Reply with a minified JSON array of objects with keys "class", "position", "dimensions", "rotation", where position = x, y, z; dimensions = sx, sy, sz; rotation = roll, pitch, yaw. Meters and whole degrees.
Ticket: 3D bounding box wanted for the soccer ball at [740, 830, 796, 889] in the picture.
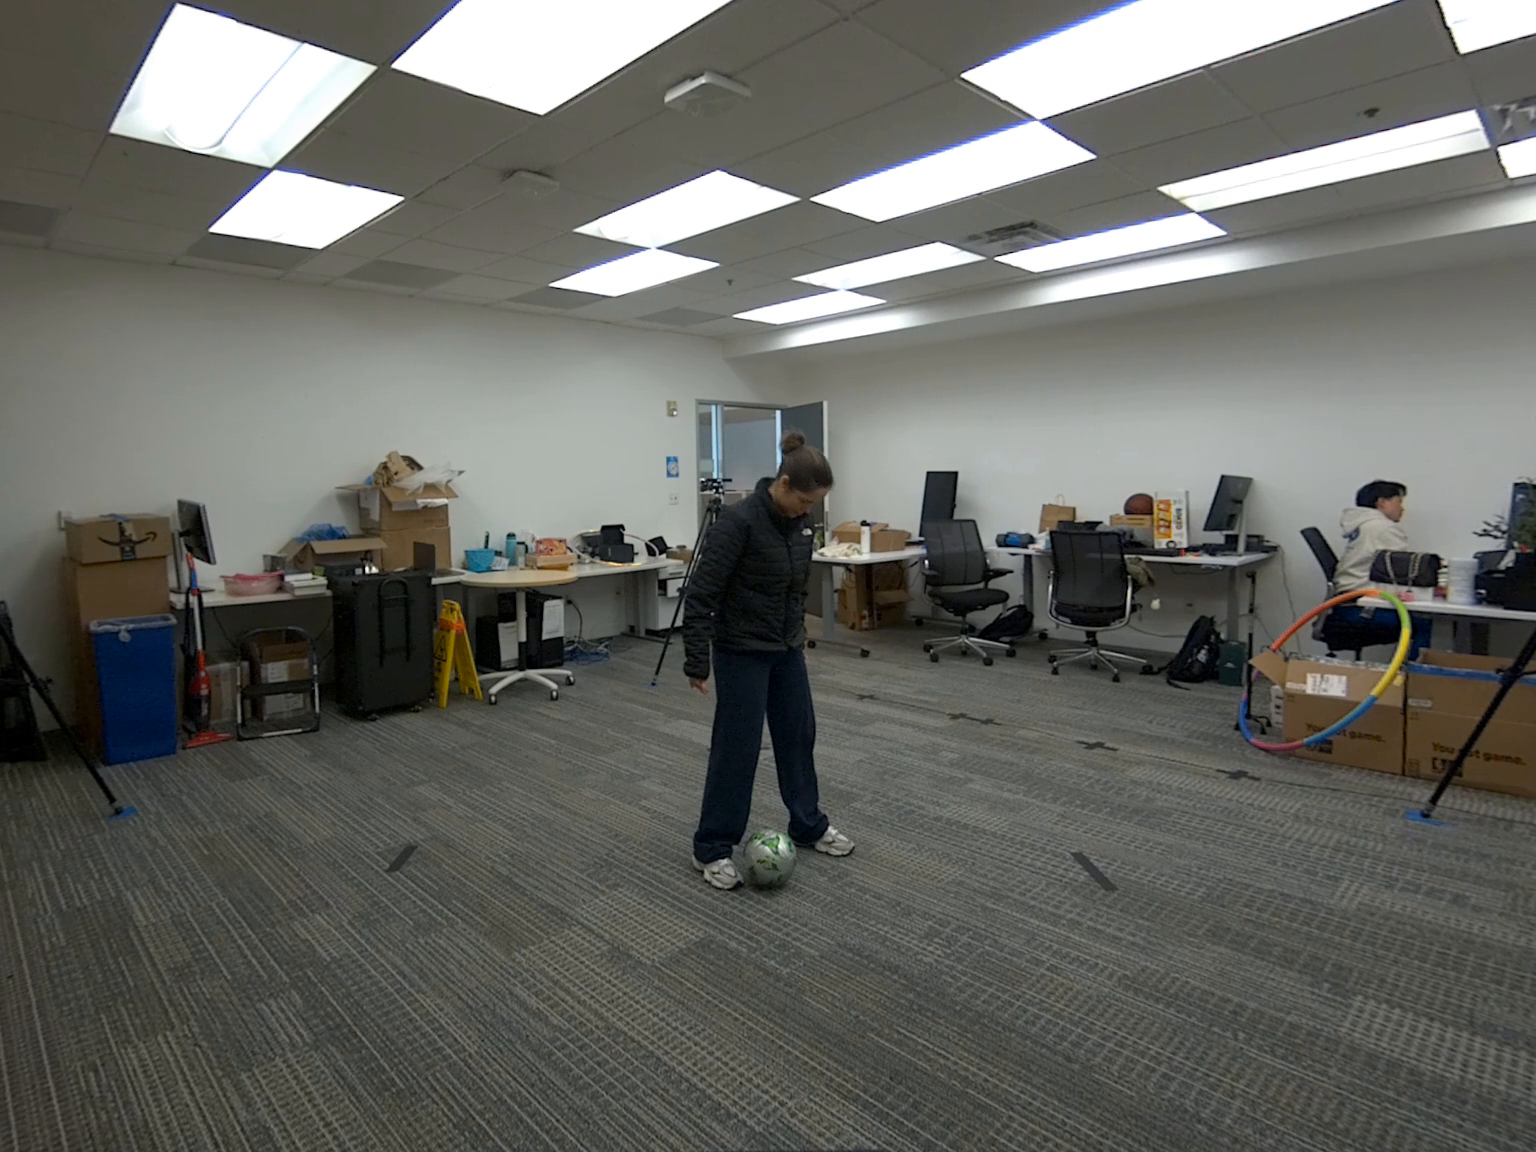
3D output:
[{"class":"soccer ball","position":[0.009,0.969,2.937],"dimensions":[0.187,0.187,0.188],"rotation":[-1,5,-2]}]
